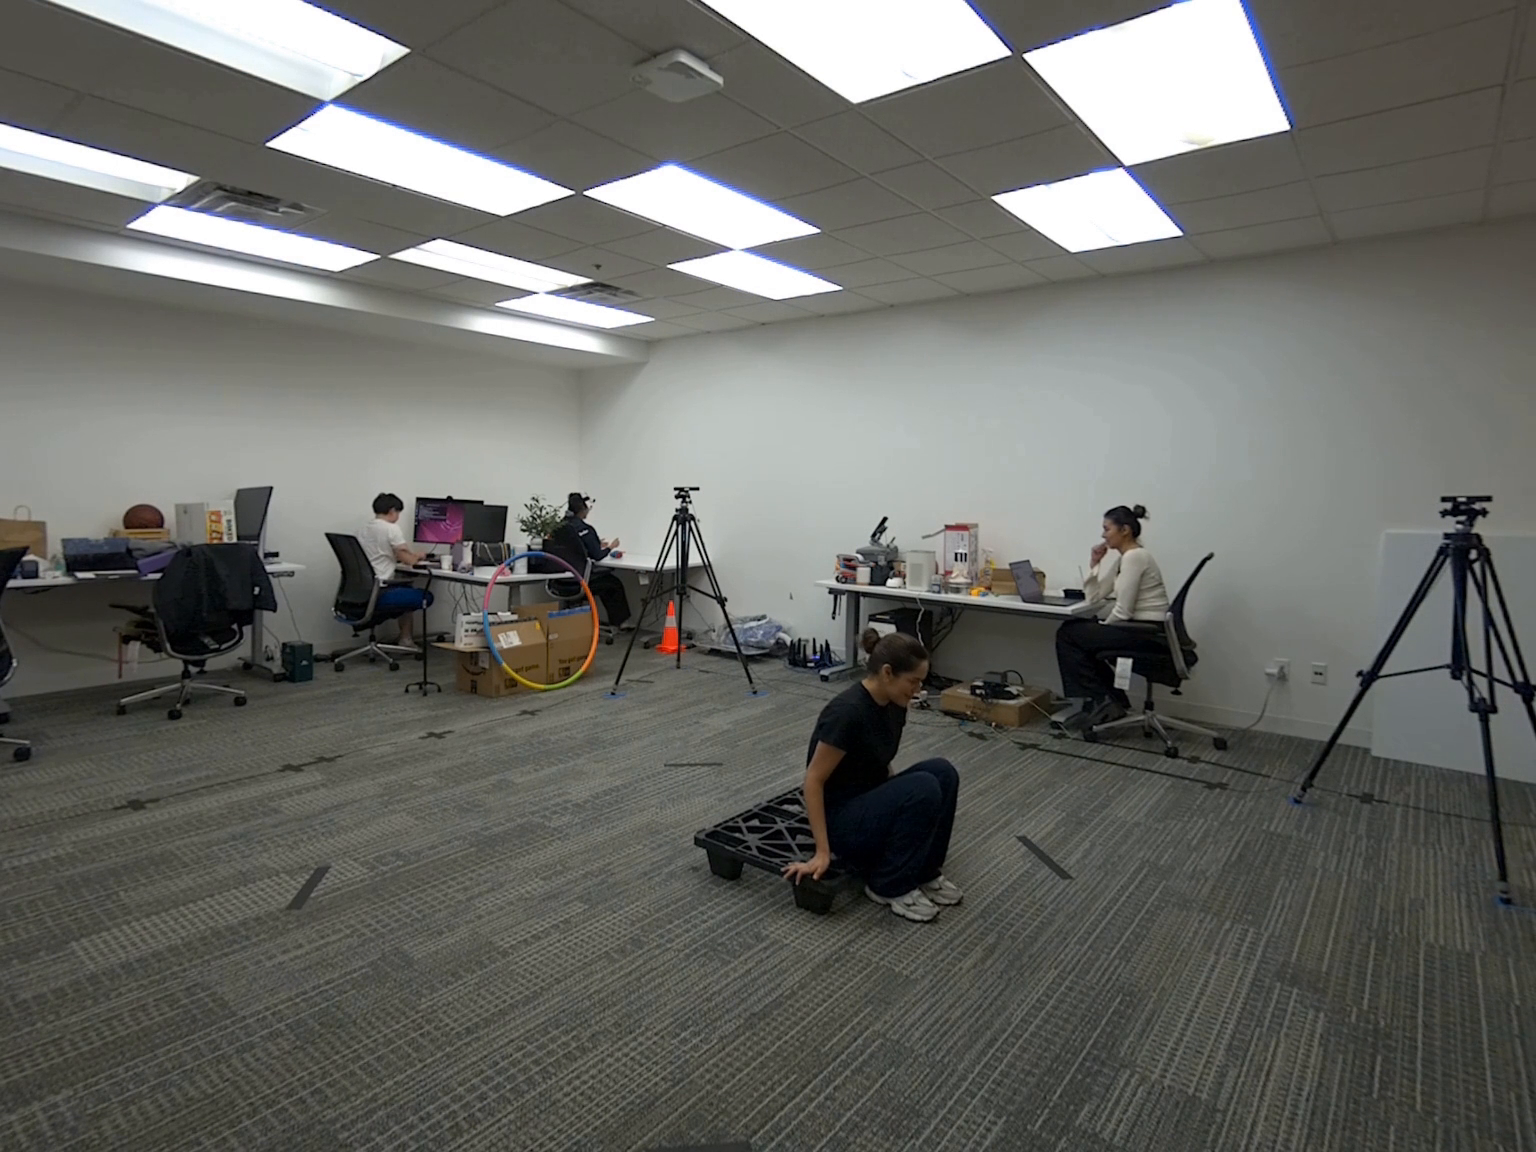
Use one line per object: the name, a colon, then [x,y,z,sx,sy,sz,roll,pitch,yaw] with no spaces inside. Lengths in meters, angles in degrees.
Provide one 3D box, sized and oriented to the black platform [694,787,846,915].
black platform: [0.205,0.992,3.211,0.625,0.143,0.782,4,6,38]
